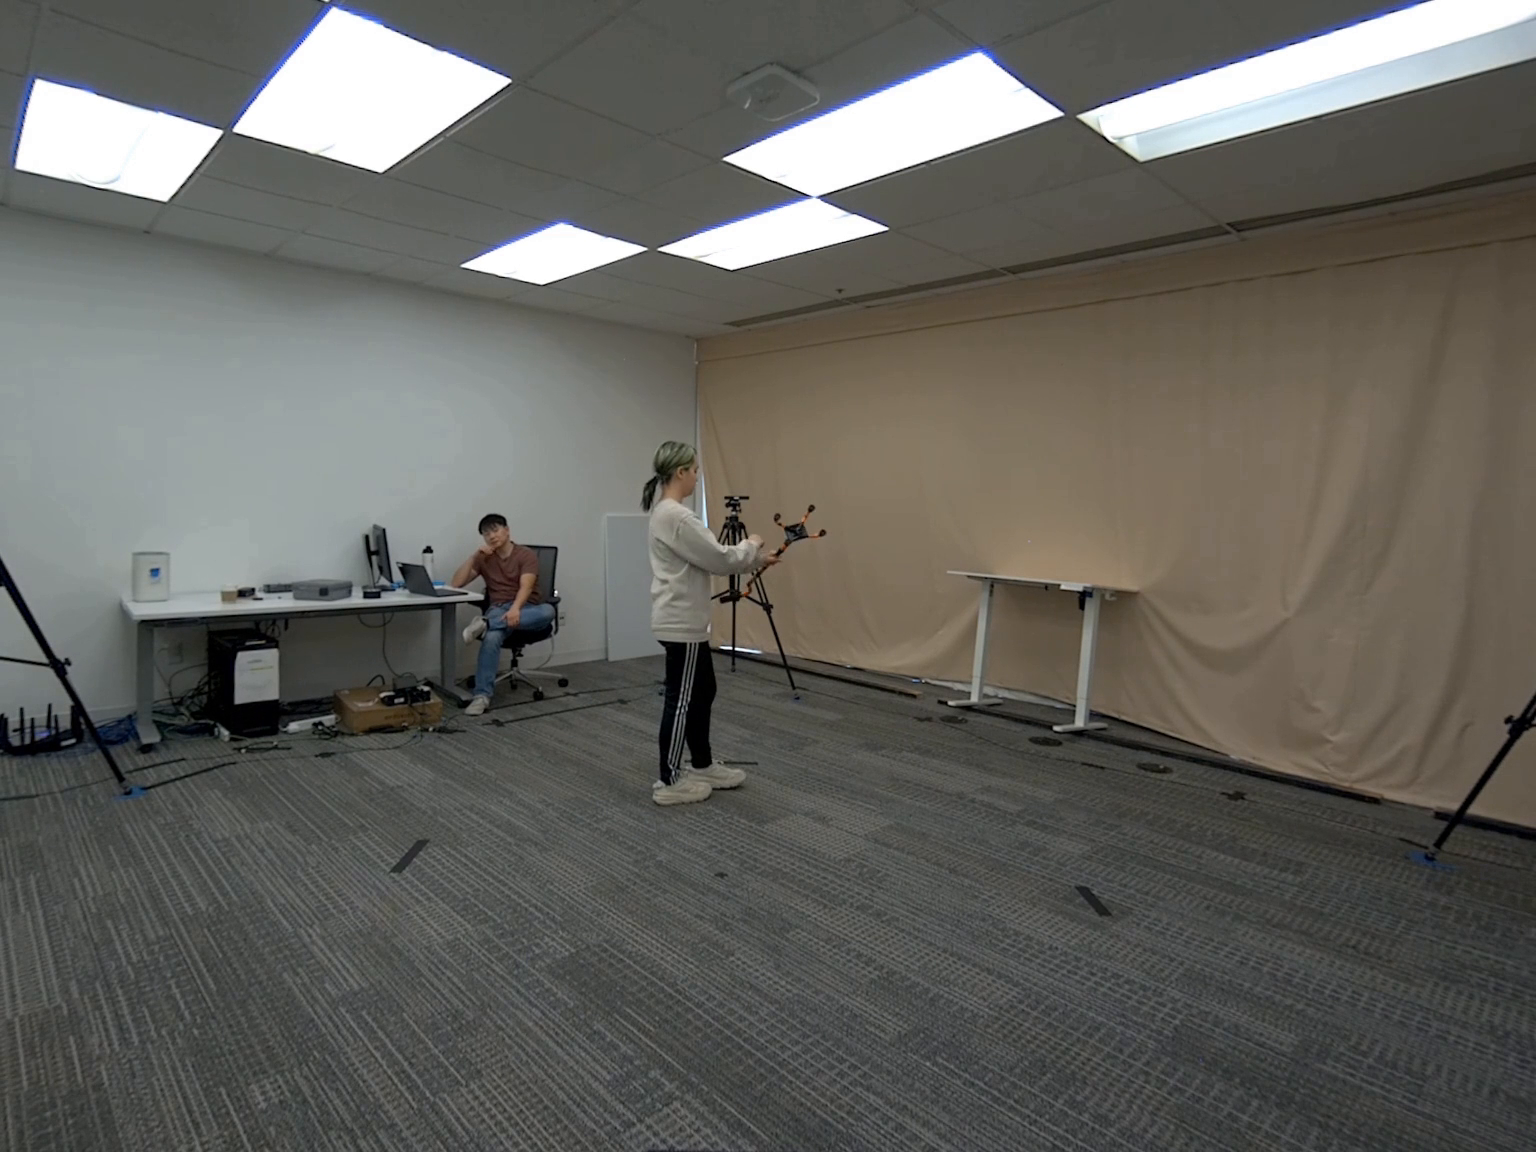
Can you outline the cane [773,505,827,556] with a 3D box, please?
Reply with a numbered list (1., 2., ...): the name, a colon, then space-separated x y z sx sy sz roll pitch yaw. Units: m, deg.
1. cane: -0.037 -0.057 4.027 0.203 0.154 0.907 -12 -16 -27
